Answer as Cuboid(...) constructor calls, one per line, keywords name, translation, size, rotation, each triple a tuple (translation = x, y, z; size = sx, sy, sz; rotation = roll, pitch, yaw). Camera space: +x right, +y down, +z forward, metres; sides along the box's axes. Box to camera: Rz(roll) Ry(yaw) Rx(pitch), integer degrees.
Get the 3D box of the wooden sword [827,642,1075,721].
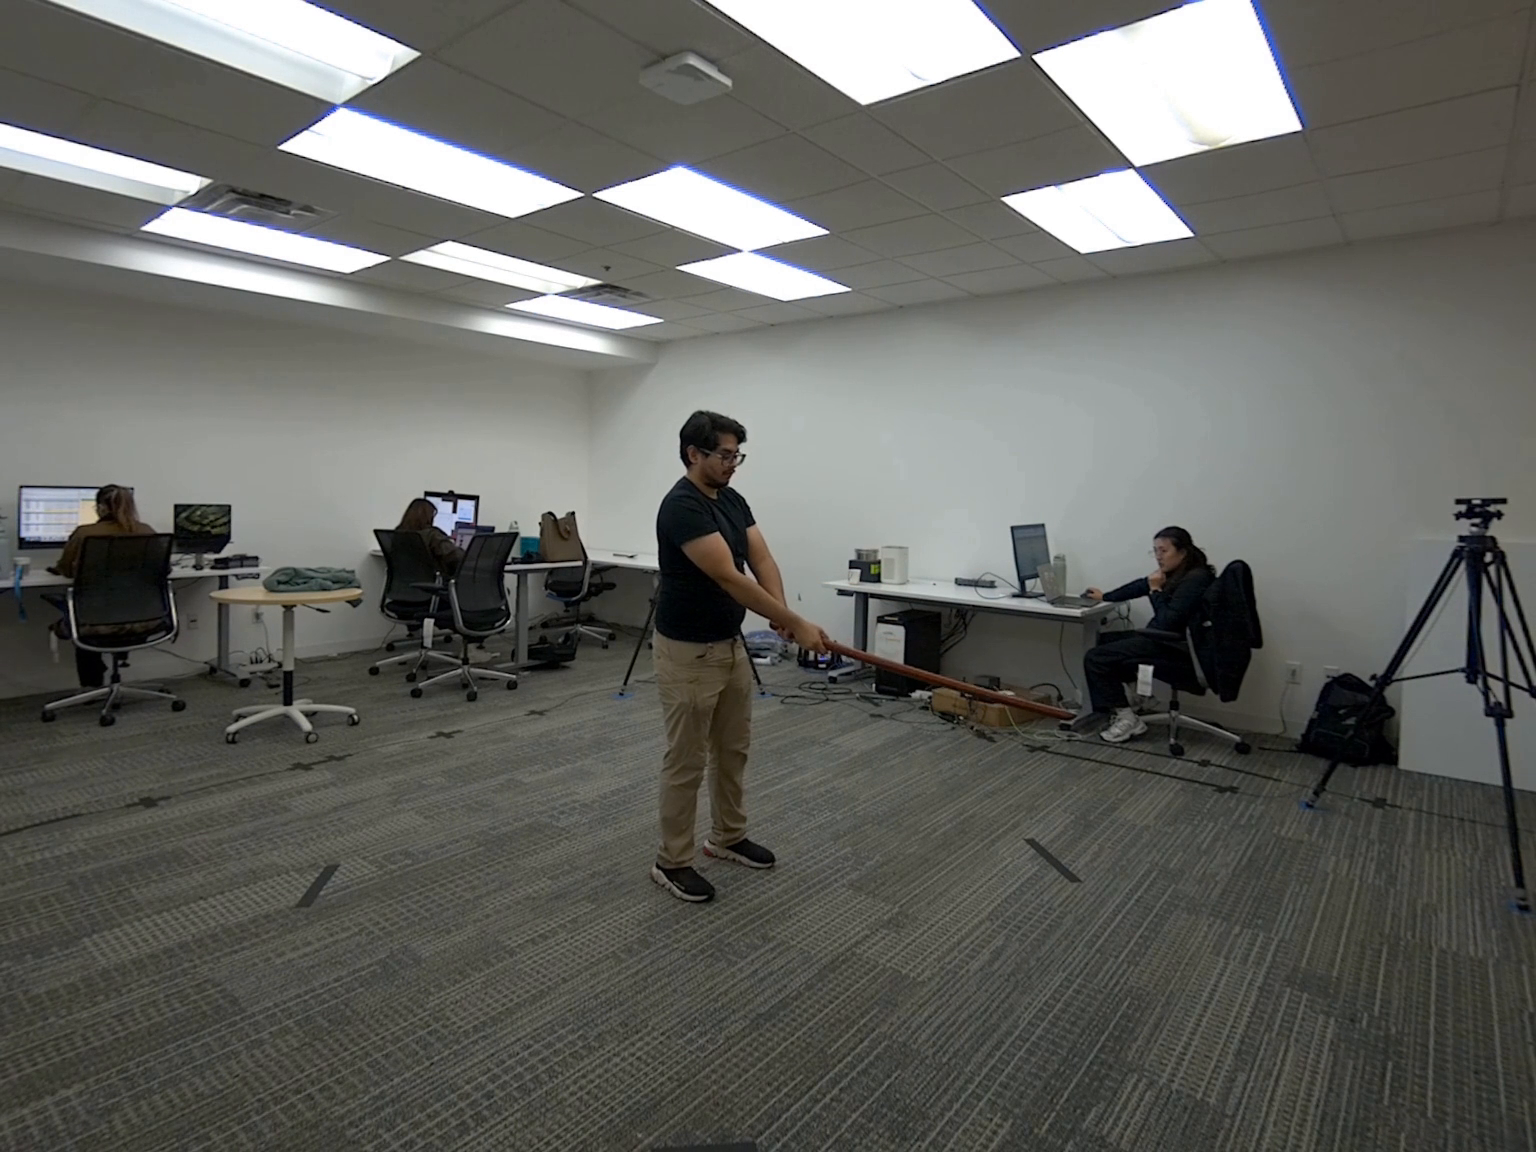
Cuboid(name="wooden sword", translation=(0.436, 0.286, 2.489), size=(1.064, 0.051, 0.023), rotation=(14, -34, 42))
